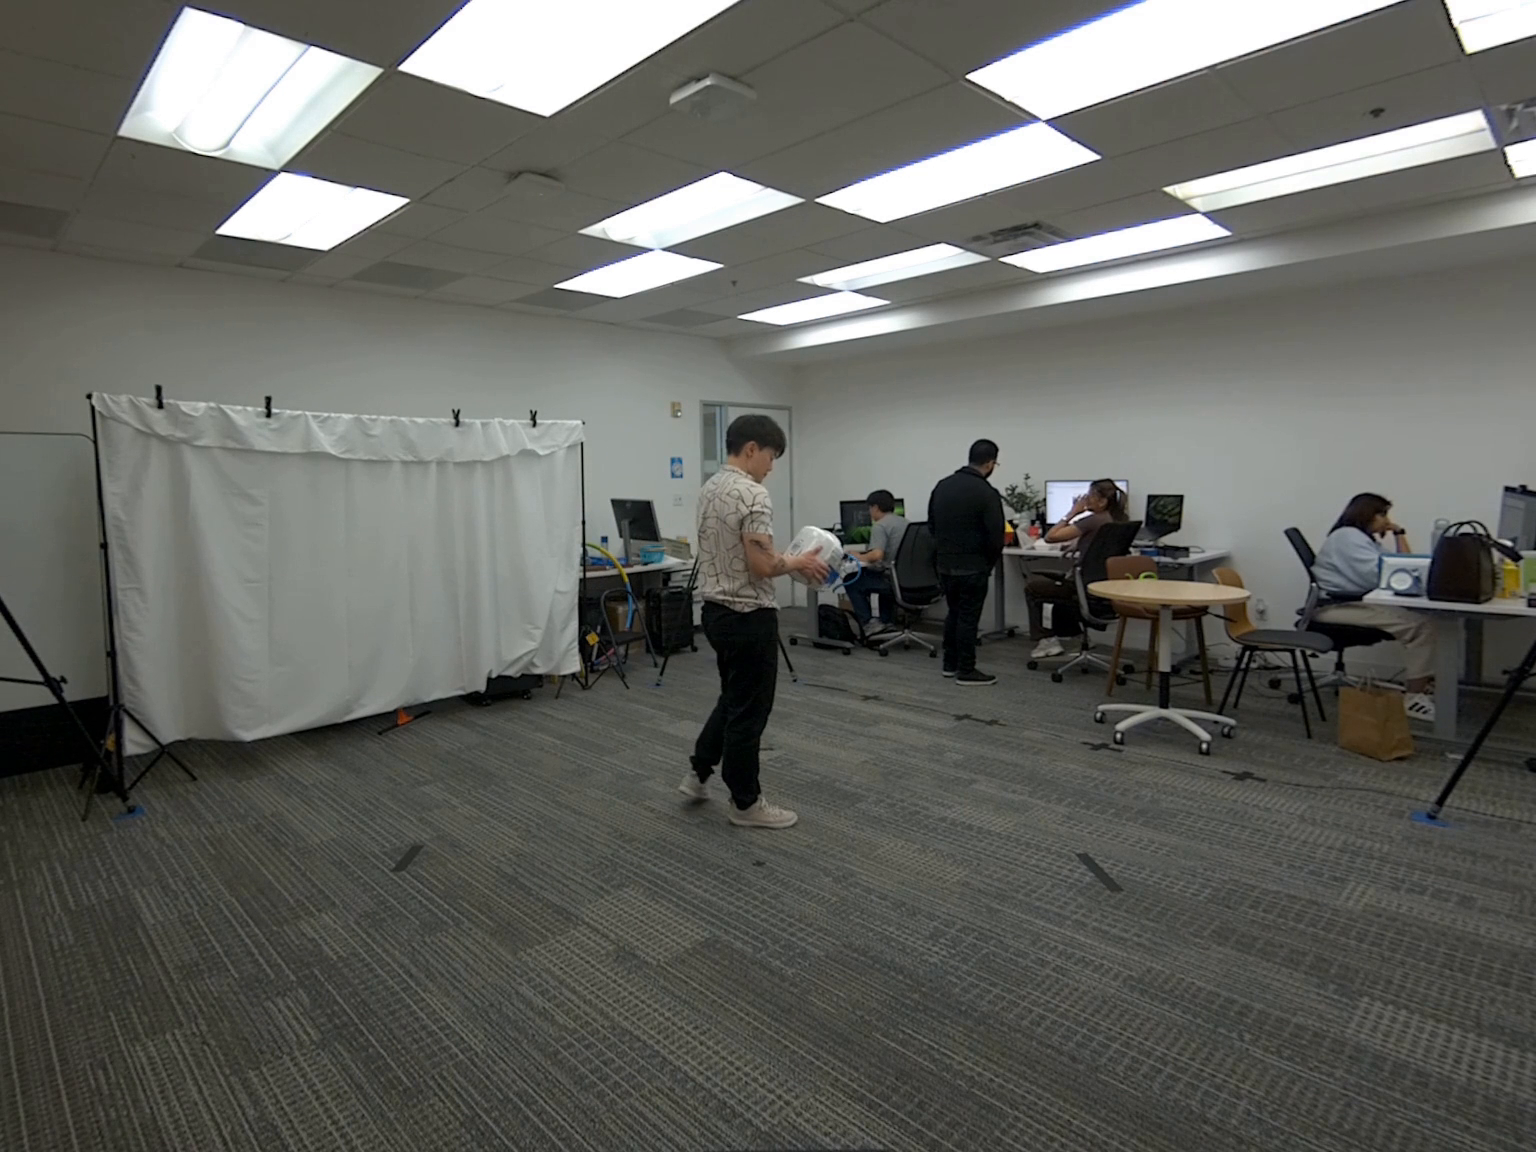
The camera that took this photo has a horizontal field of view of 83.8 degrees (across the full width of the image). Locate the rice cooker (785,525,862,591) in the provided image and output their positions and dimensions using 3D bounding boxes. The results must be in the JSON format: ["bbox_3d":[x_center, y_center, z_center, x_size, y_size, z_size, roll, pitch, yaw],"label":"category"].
[{"bbox_3d":[0.184,-0.085,3.523,0.209,0.233,0.229,43,-11,-38],"label":"rice cooker"}]
